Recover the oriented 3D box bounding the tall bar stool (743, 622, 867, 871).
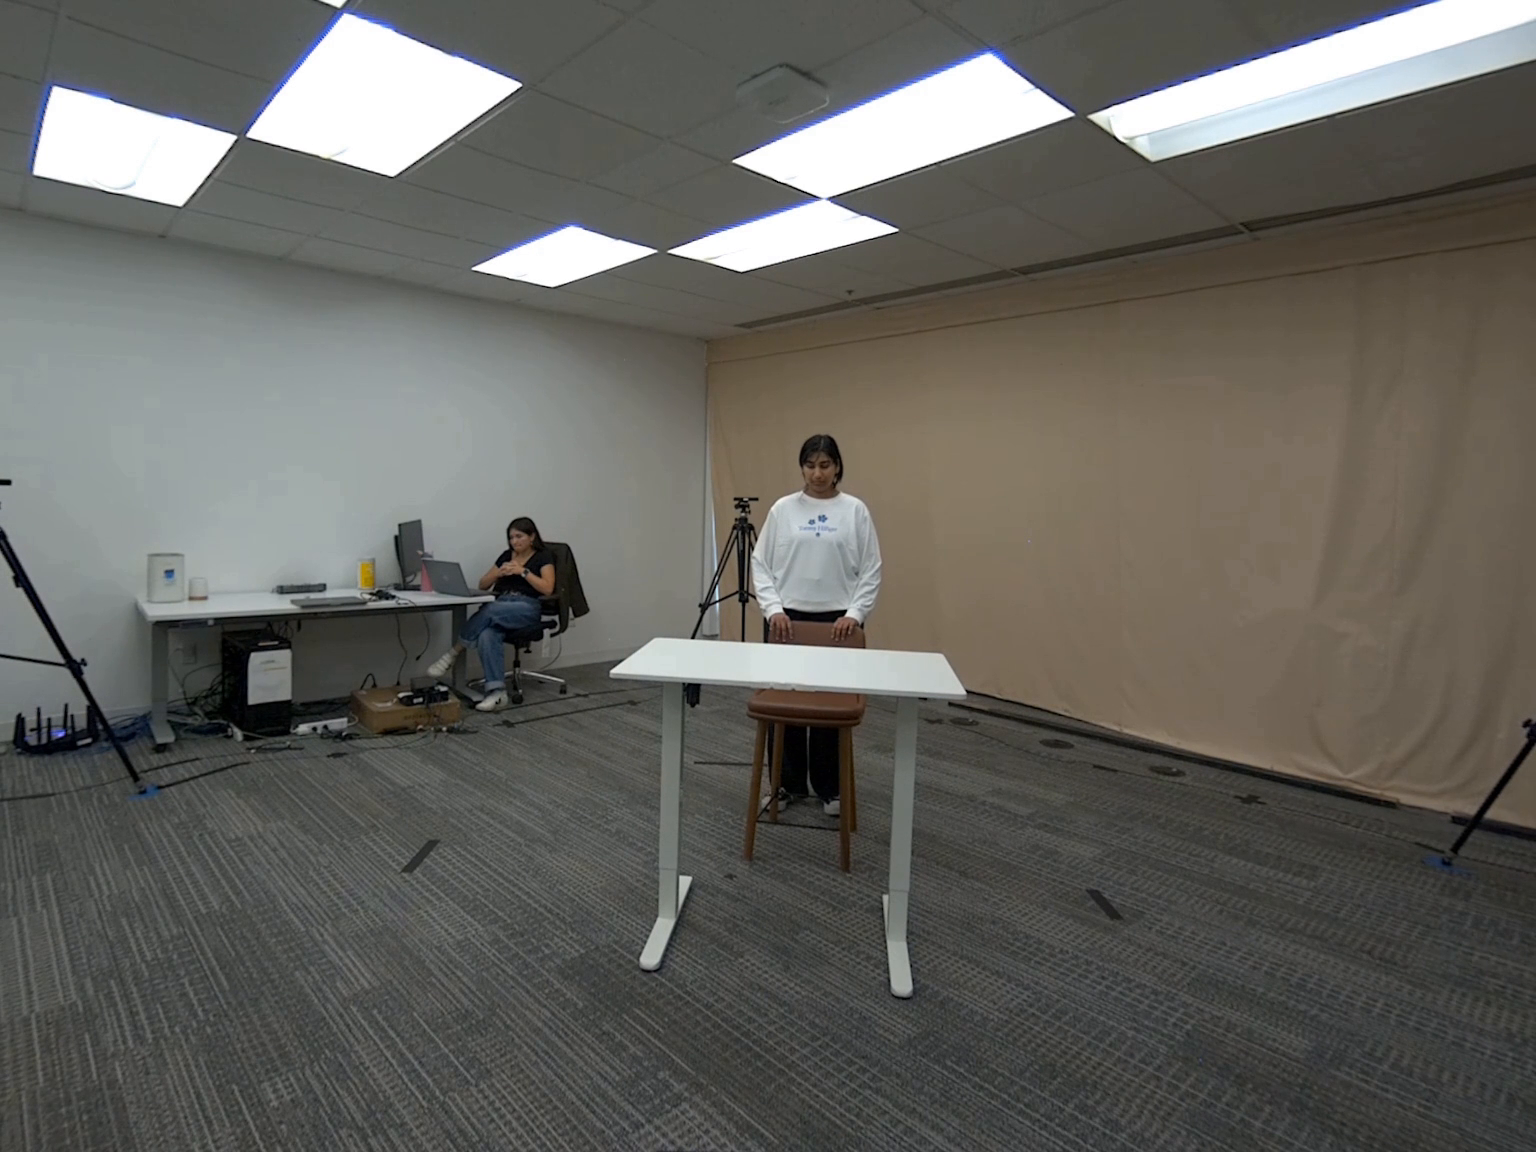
[{"bbox_3d":[0.146,0.653,3.405,0.462,0.890,0.462,1,0,13],"label":"tall bar stool"}]
